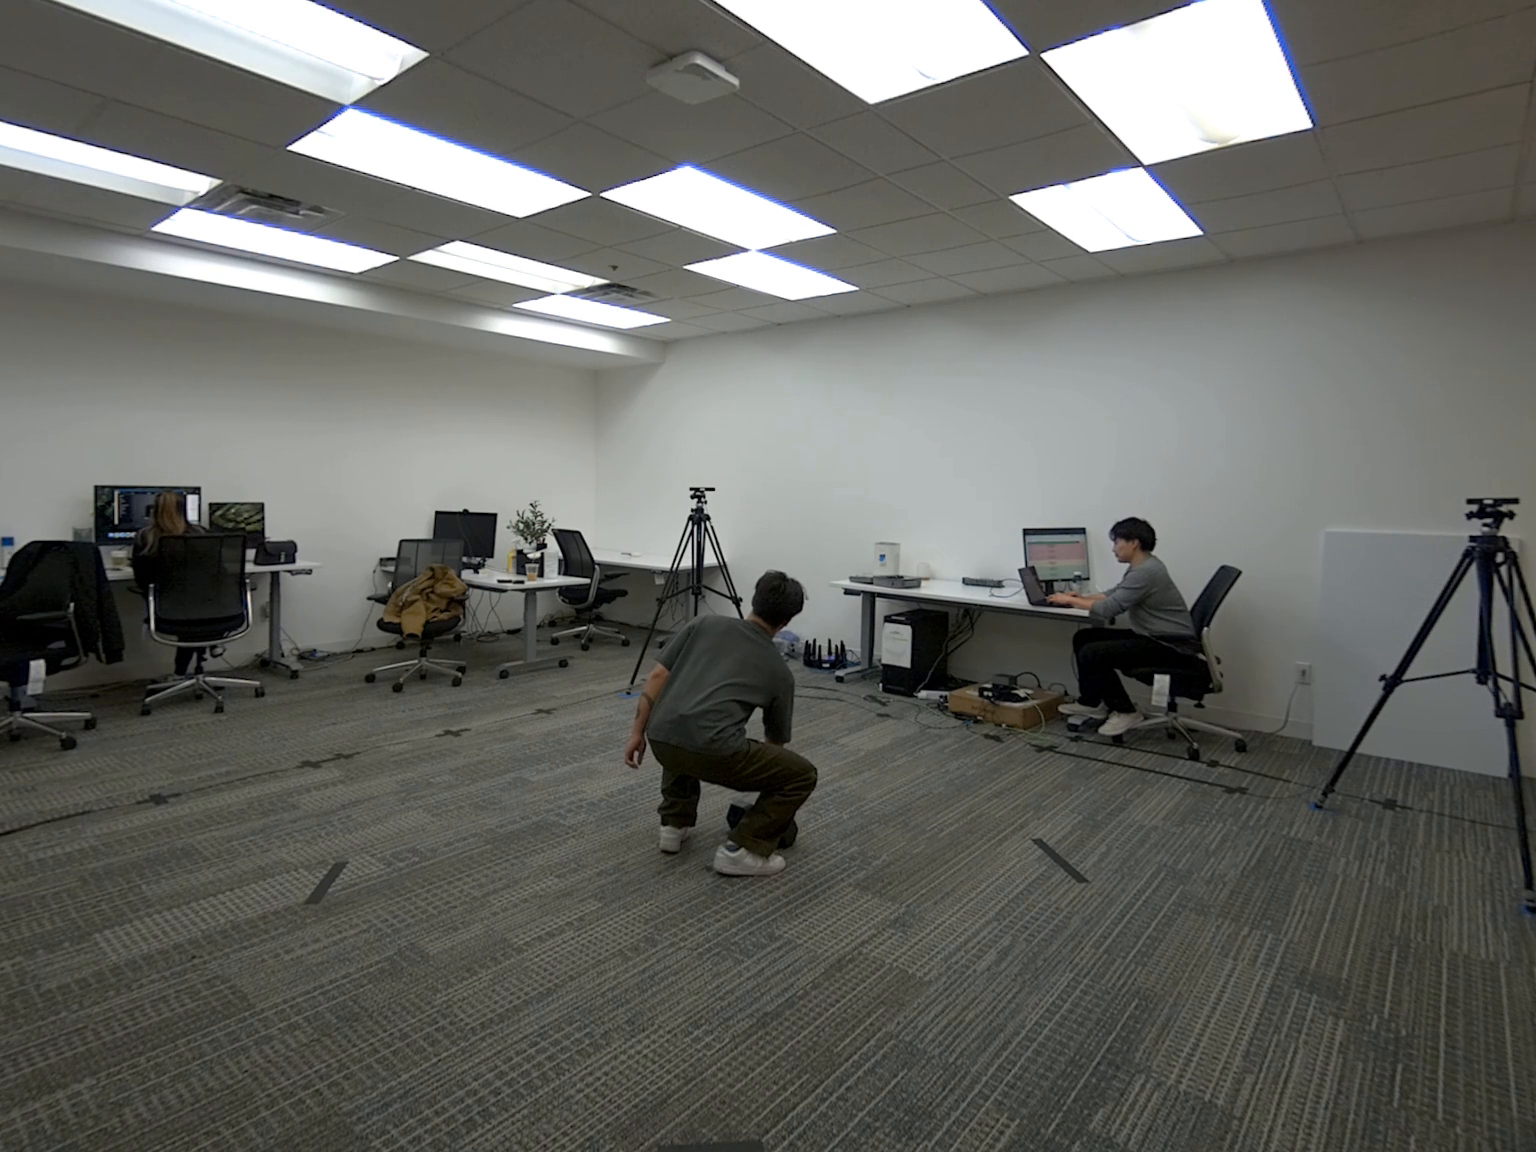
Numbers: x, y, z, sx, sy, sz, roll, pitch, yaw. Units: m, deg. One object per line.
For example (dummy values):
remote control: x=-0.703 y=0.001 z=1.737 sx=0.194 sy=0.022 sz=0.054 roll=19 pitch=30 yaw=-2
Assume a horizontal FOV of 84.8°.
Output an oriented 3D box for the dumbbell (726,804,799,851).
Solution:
dumbbell: x=-0.034 y=0.988 z=3.397 sx=0.304 sy=0.124 sz=0.104 roll=7 pitch=-25 yaw=38
